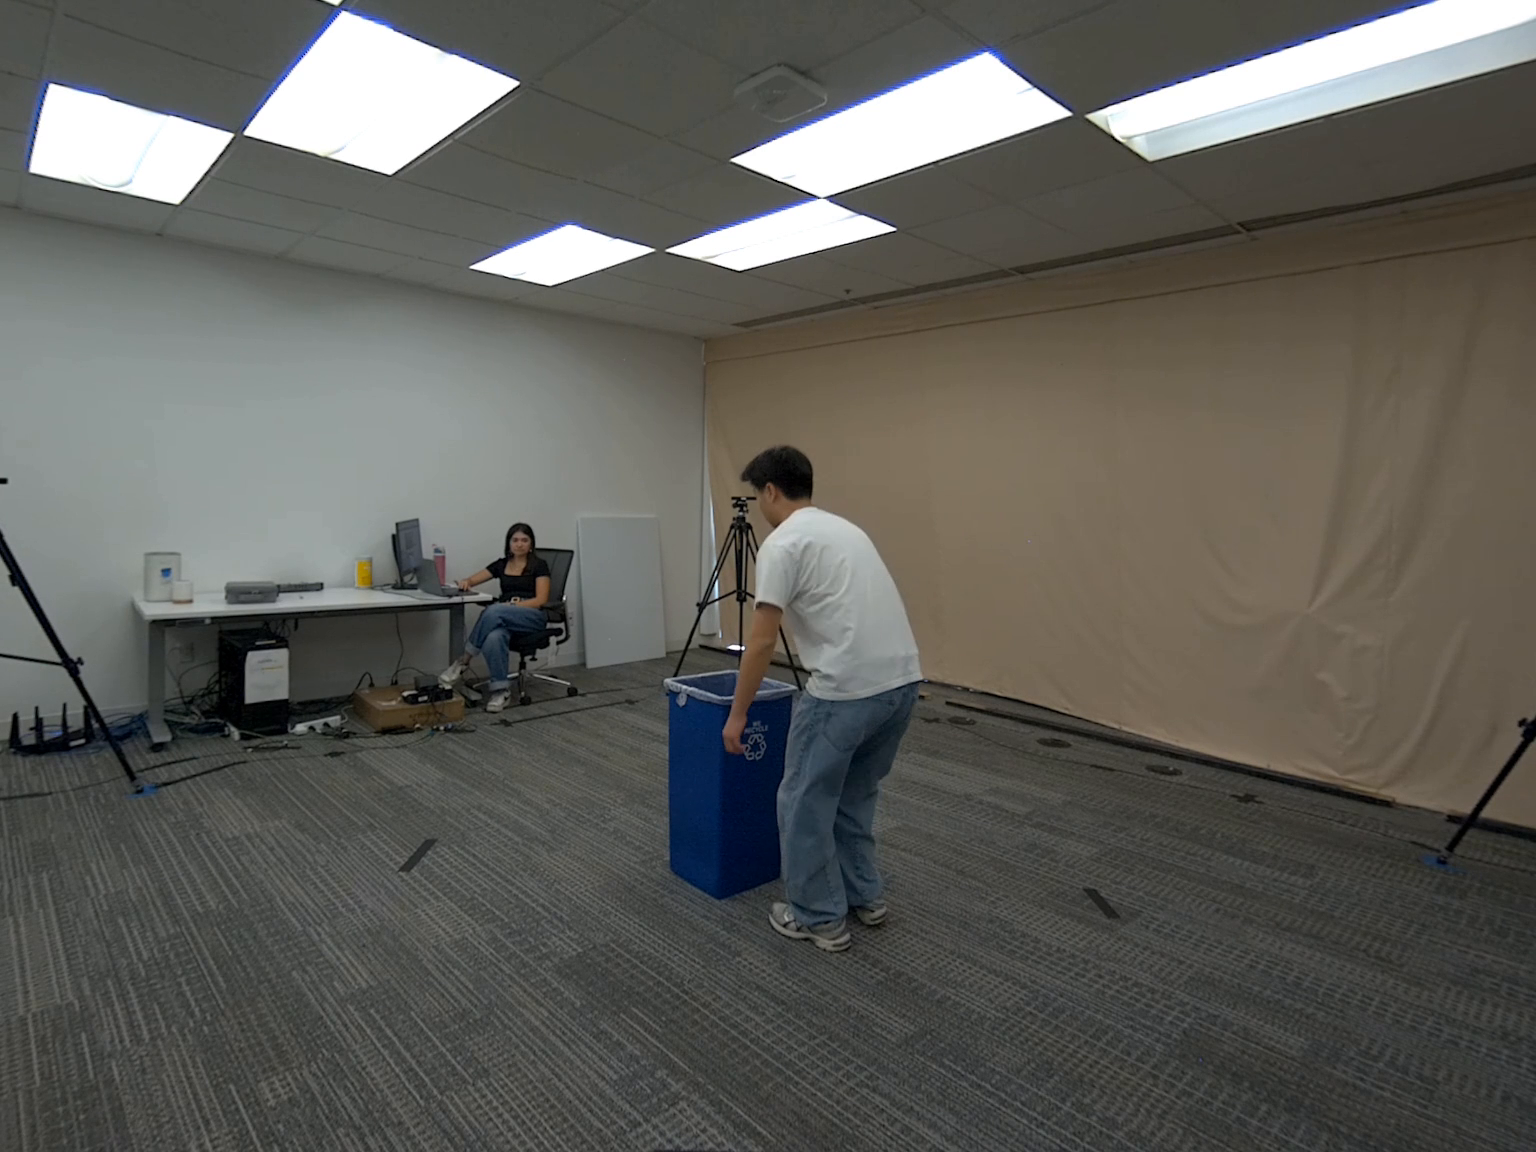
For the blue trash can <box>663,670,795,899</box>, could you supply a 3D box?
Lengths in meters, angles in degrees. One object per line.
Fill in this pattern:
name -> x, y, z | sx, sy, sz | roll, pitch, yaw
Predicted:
blue trash can -> -0.154, 0.747, 3.111 | 0.365, 0.712, 0.388 | -2, 5, -42
